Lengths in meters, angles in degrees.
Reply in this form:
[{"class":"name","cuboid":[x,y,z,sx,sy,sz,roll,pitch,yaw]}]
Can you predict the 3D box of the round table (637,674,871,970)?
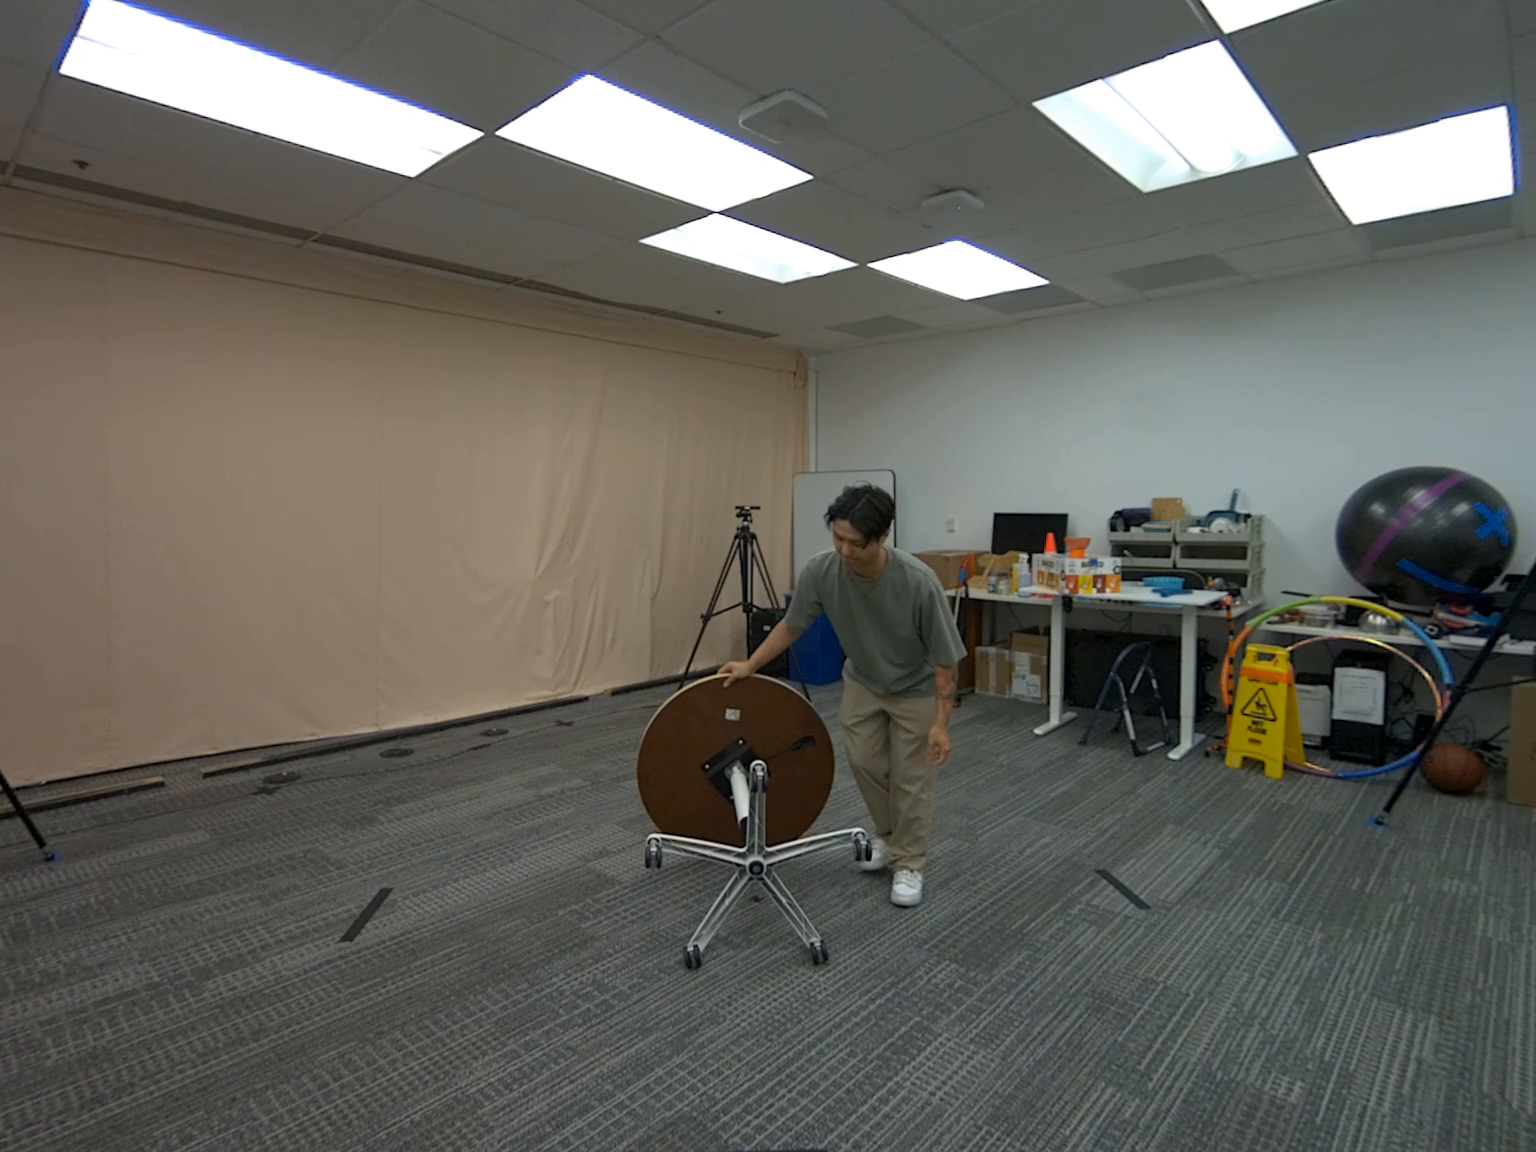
[{"class":"round table","cuboid":[-0.077,0.822,2.870,0.781,0.780,0.796,0,11,-6]}]
